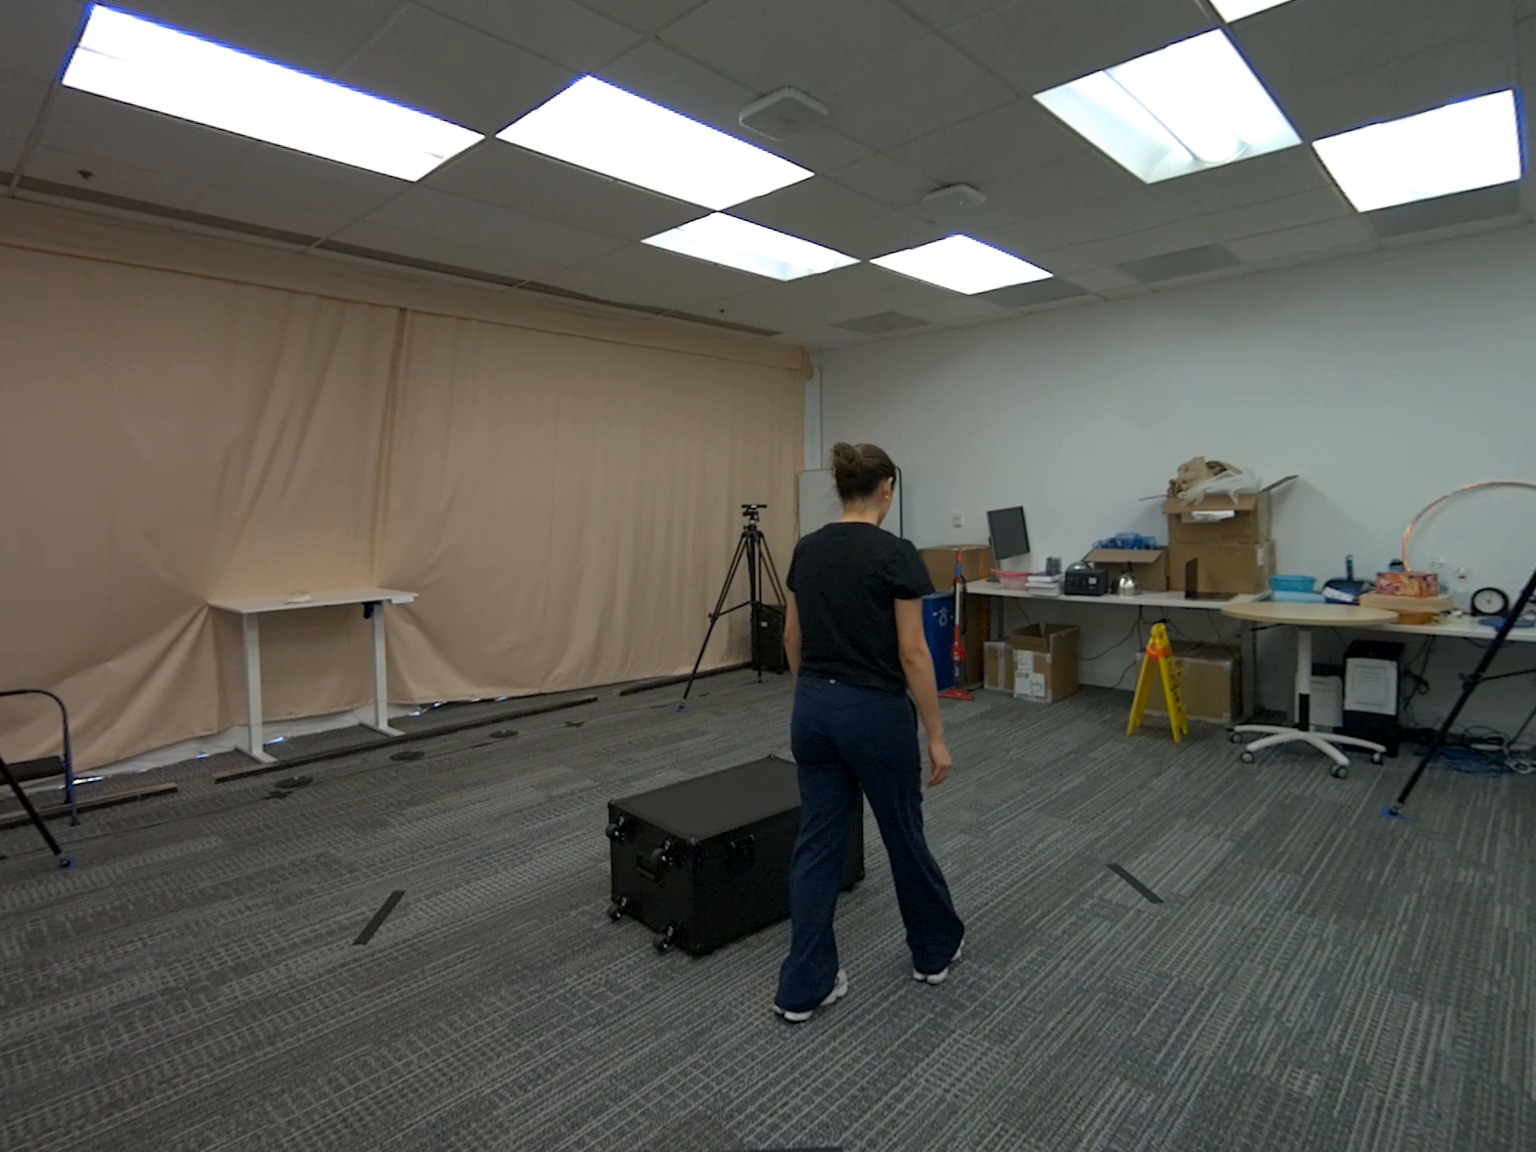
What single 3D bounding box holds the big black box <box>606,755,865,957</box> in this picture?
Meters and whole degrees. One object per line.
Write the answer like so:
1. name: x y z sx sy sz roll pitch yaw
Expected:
1. big black box: -0.066 0.951 3.001 0.836 0.395 0.538 -6 7 -40
